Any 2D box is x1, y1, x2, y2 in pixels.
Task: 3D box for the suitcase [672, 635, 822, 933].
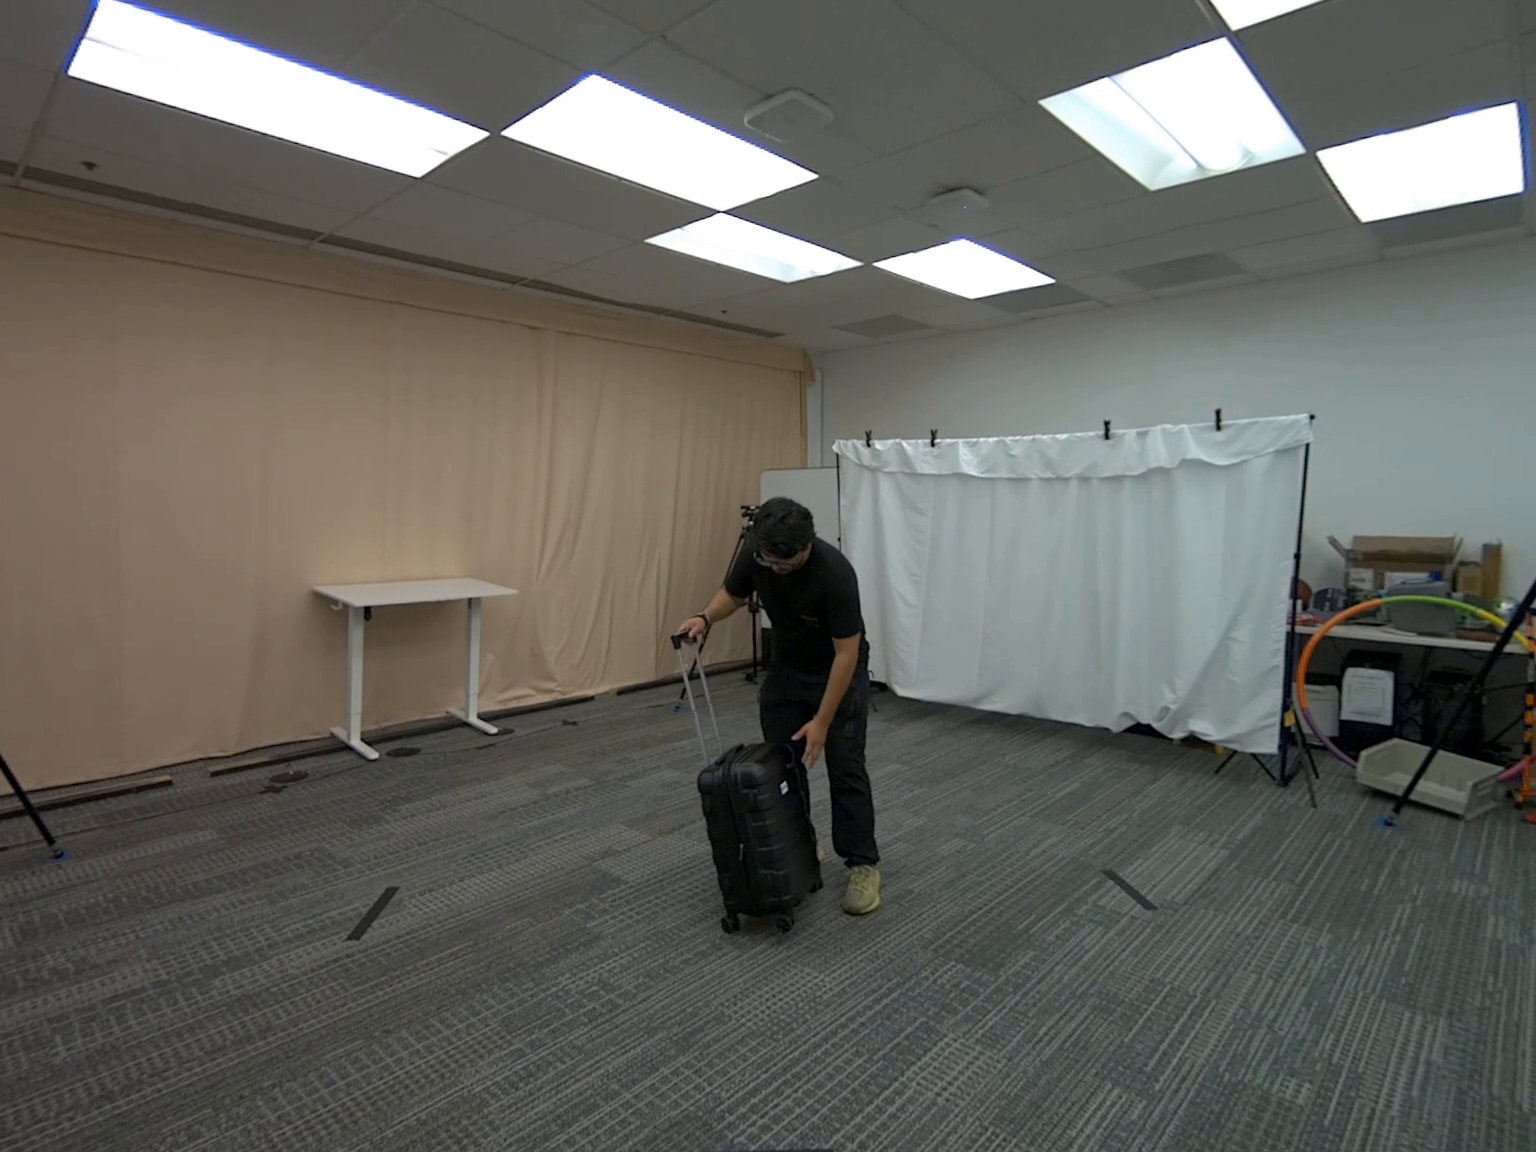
[{"bbox_3d":[-0.072,0.662,2.842,0.262,0.980,0.376,-13,-2,22],"label":"suitcase"}]
